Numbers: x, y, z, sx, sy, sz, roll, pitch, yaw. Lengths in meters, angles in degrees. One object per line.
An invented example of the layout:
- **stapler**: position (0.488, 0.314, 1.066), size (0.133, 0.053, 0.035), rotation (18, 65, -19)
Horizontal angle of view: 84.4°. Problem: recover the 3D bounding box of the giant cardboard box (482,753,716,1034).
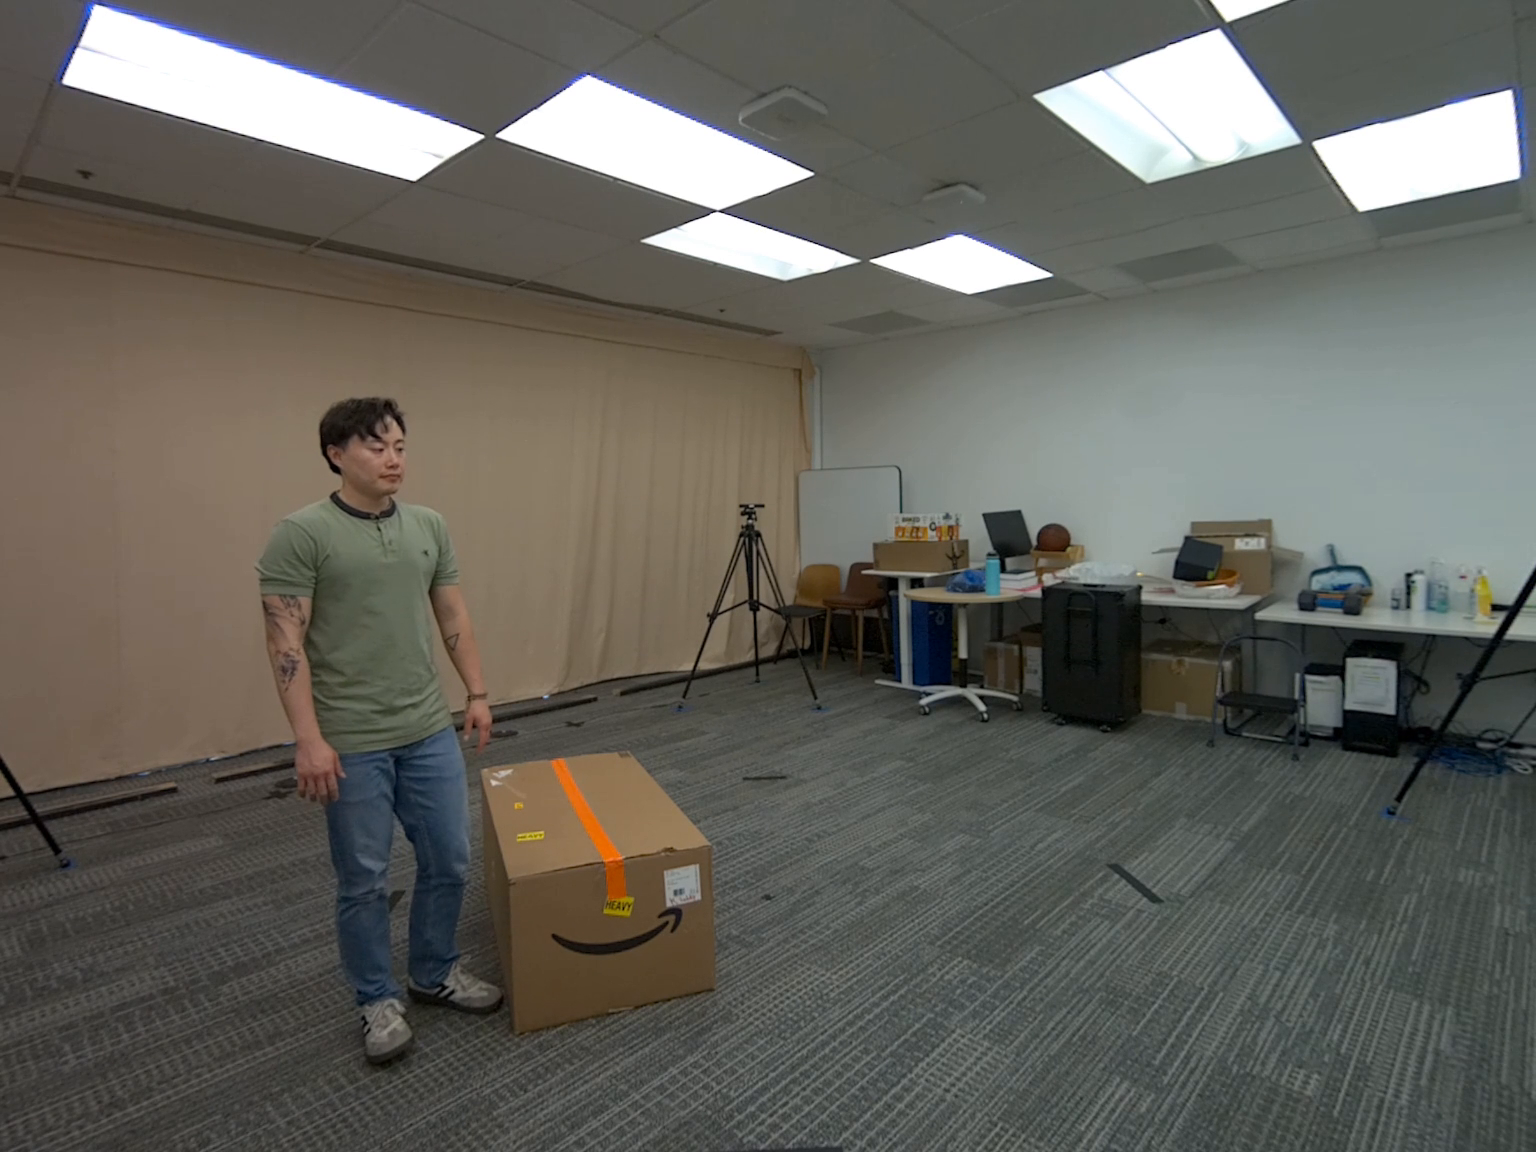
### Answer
- **giant cardboard box**: position (-0.609, 0.952, 2.793), size (0.566, 0.425, 1.050), rotation (-4, 5, -22)
